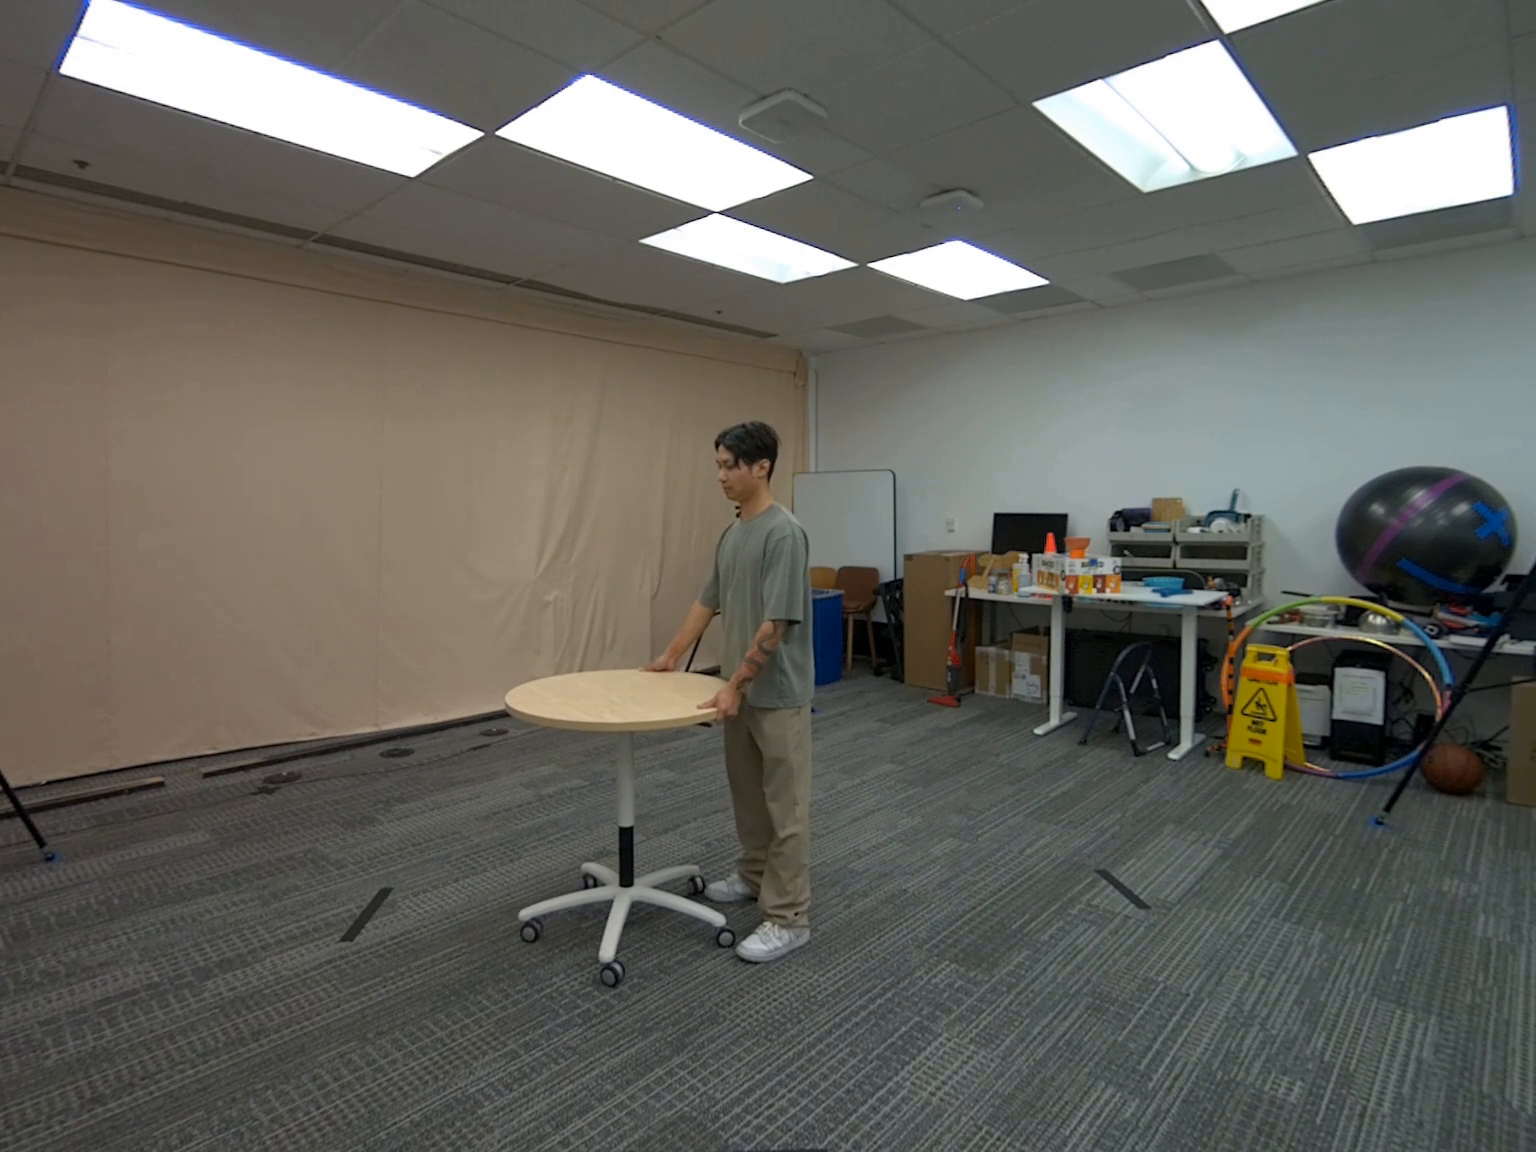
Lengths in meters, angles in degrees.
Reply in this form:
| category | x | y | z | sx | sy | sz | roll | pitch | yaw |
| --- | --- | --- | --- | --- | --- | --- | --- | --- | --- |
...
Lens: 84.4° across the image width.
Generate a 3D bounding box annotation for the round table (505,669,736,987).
| category | x | y | z | sx | sy | sz | roll | pitch | yaw |
| --- | --- | --- | --- | --- | --- | --- | --- | --- | --- |
| round table | -0.484 | 0.774 | 2.777 | 0.784 | 0.785 | 0.787 | 0 | 3 | -2 |
